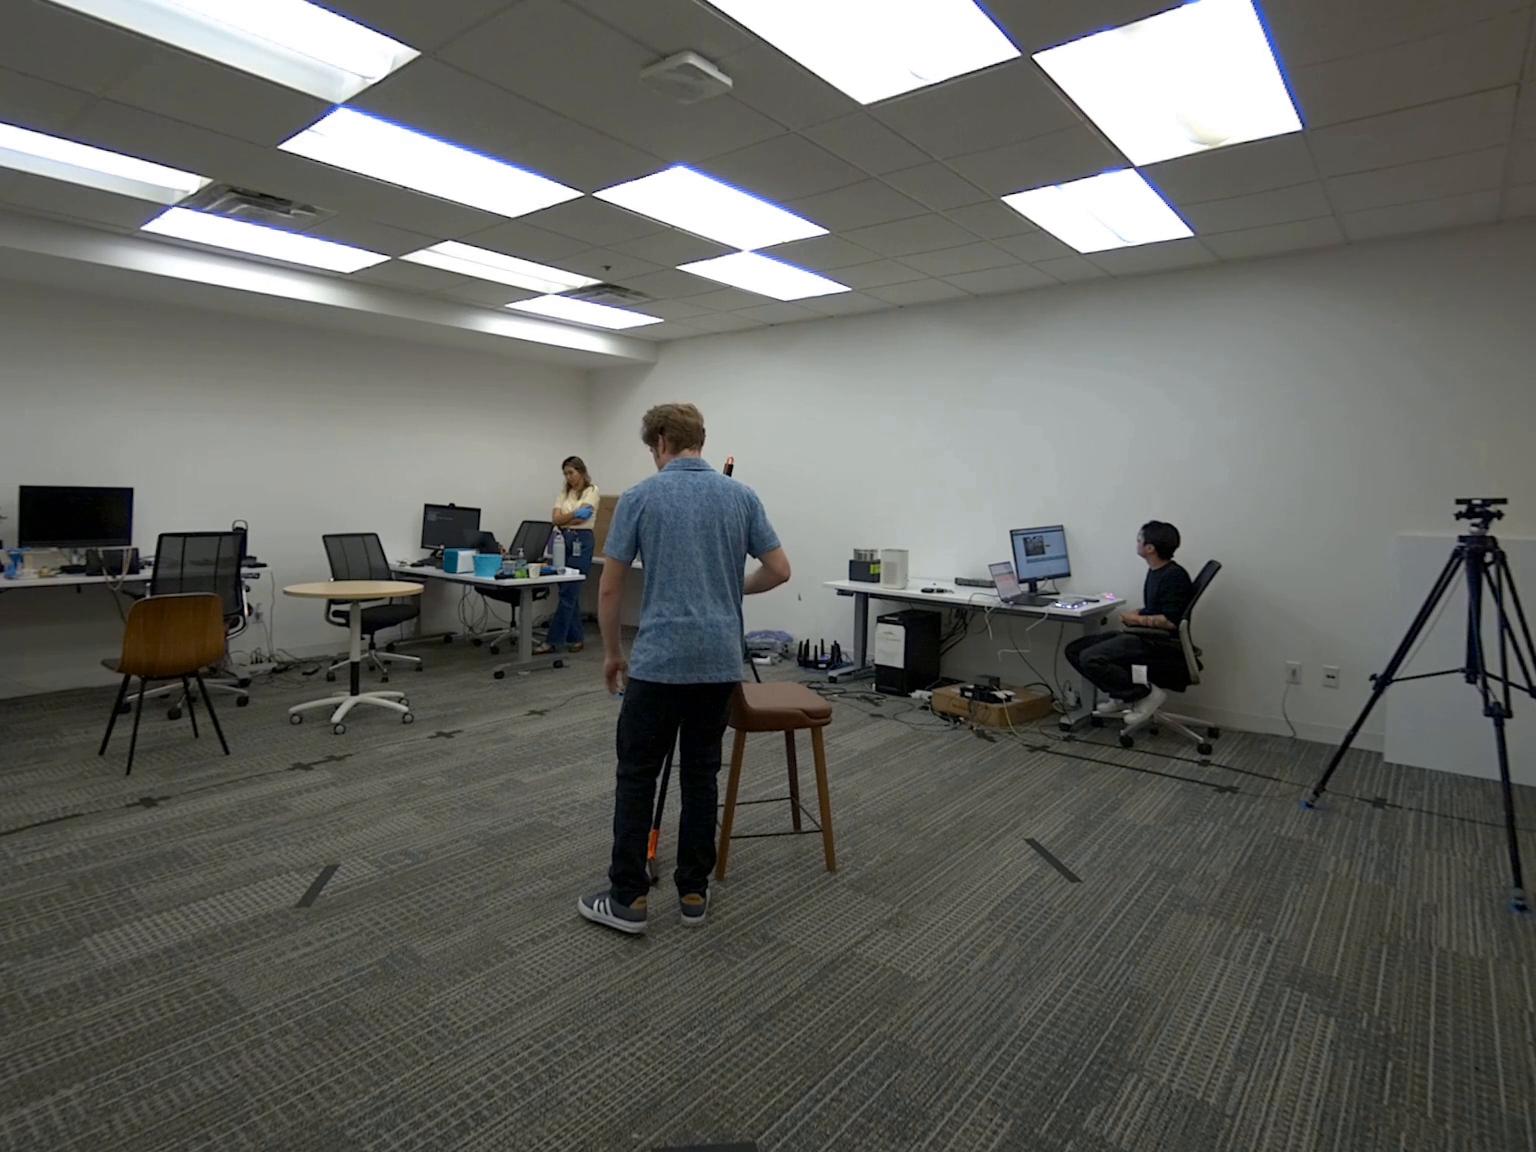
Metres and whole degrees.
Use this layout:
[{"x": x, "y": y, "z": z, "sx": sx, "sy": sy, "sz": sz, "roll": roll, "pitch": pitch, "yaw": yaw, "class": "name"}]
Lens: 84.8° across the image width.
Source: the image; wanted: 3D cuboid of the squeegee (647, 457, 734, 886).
[{"x": -0.313, "y": 0.303, "z": 3.139, "sx": 0.054, "sy": 1.537, "sz": 0.425, "roll": 11, "pitch": 0, "yaw": 24, "class": "squeegee"}]
